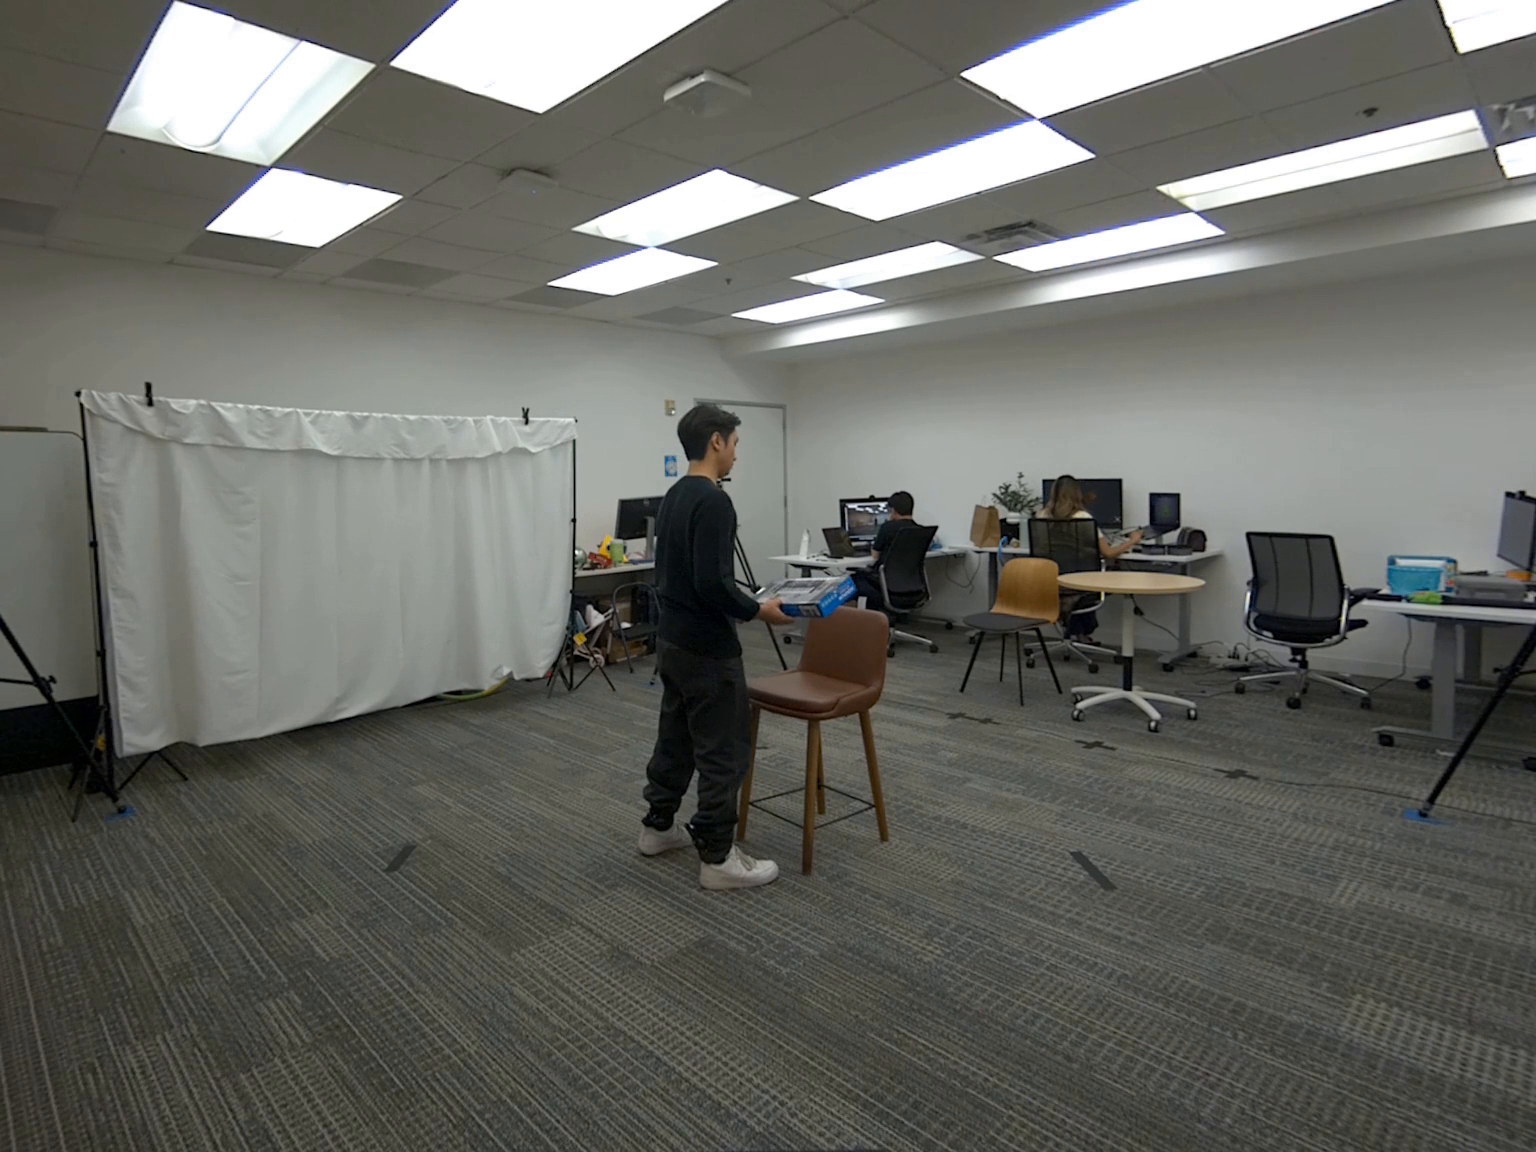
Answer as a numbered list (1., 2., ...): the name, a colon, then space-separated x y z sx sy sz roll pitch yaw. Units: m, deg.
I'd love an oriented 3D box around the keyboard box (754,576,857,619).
1. keyboard box: 0.106 0.077 3.009 0.175 0.058 0.447 -37 19 -30
